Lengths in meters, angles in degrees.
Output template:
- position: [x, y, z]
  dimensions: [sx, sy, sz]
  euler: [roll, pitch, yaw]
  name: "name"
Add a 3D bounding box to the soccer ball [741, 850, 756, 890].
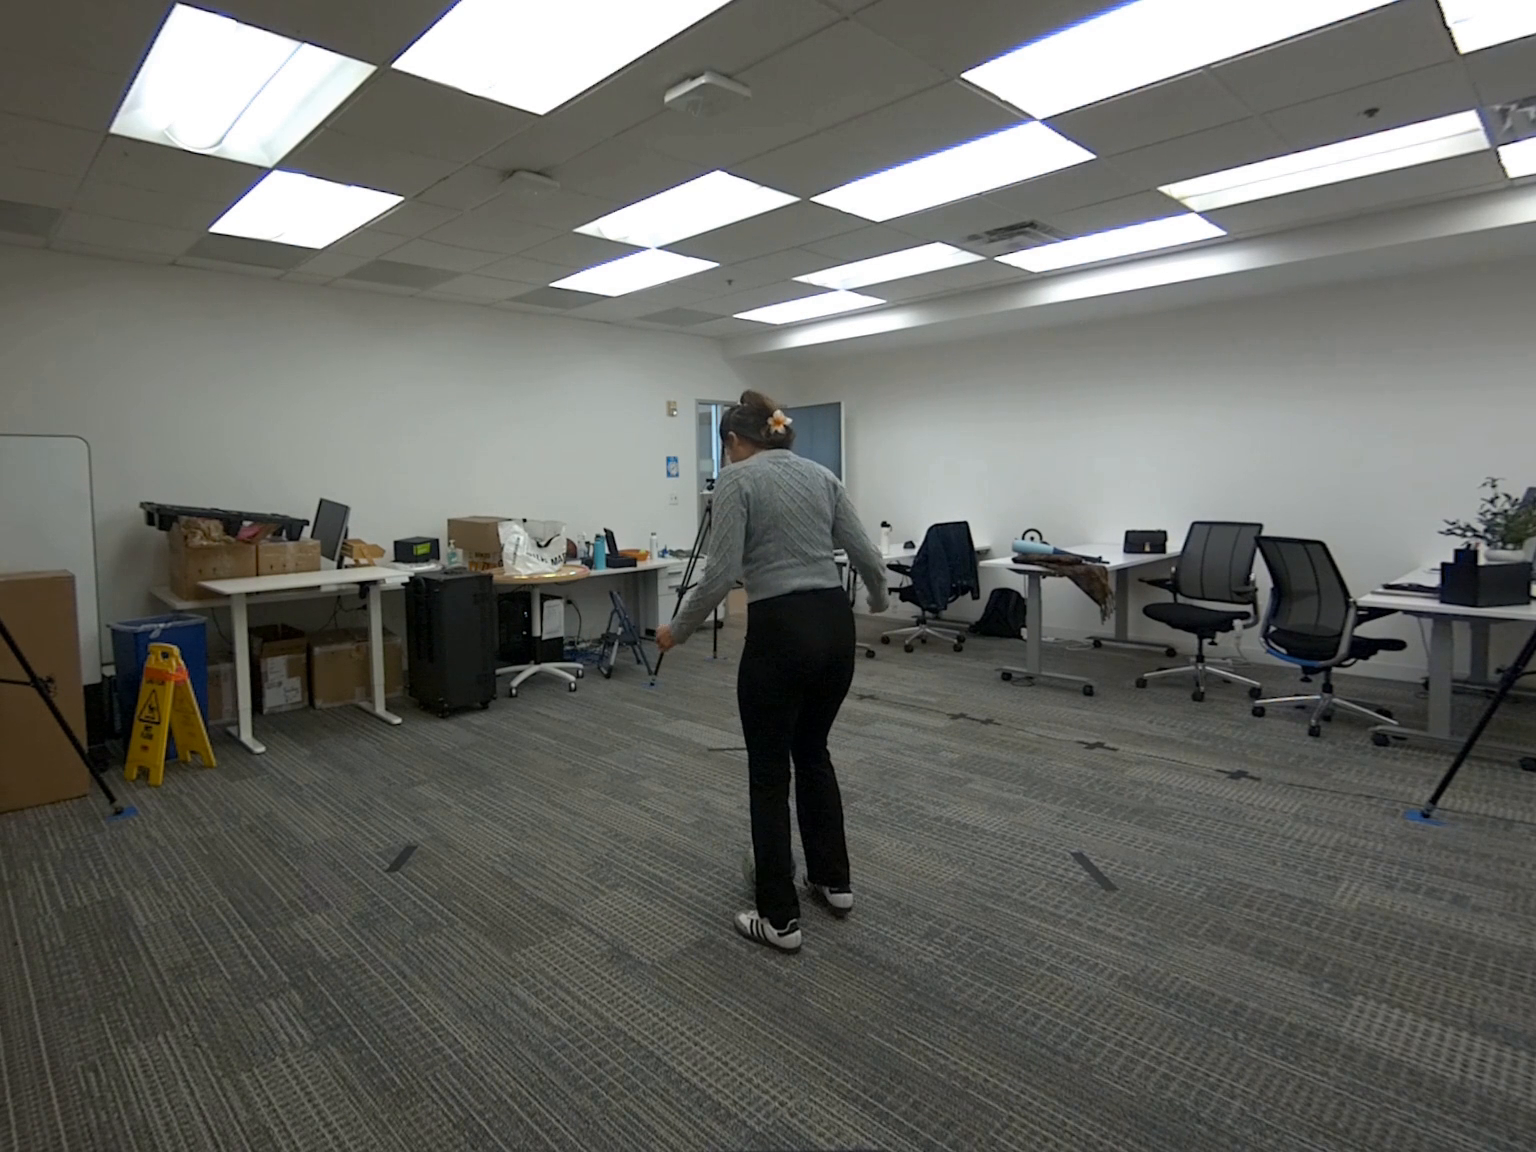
- position: [0.019, 0.980, 2.873]
  dimensions: [0.187, 0.187, 0.188]
  euler: [-1, 5, -2]
  name: "soccer ball"
